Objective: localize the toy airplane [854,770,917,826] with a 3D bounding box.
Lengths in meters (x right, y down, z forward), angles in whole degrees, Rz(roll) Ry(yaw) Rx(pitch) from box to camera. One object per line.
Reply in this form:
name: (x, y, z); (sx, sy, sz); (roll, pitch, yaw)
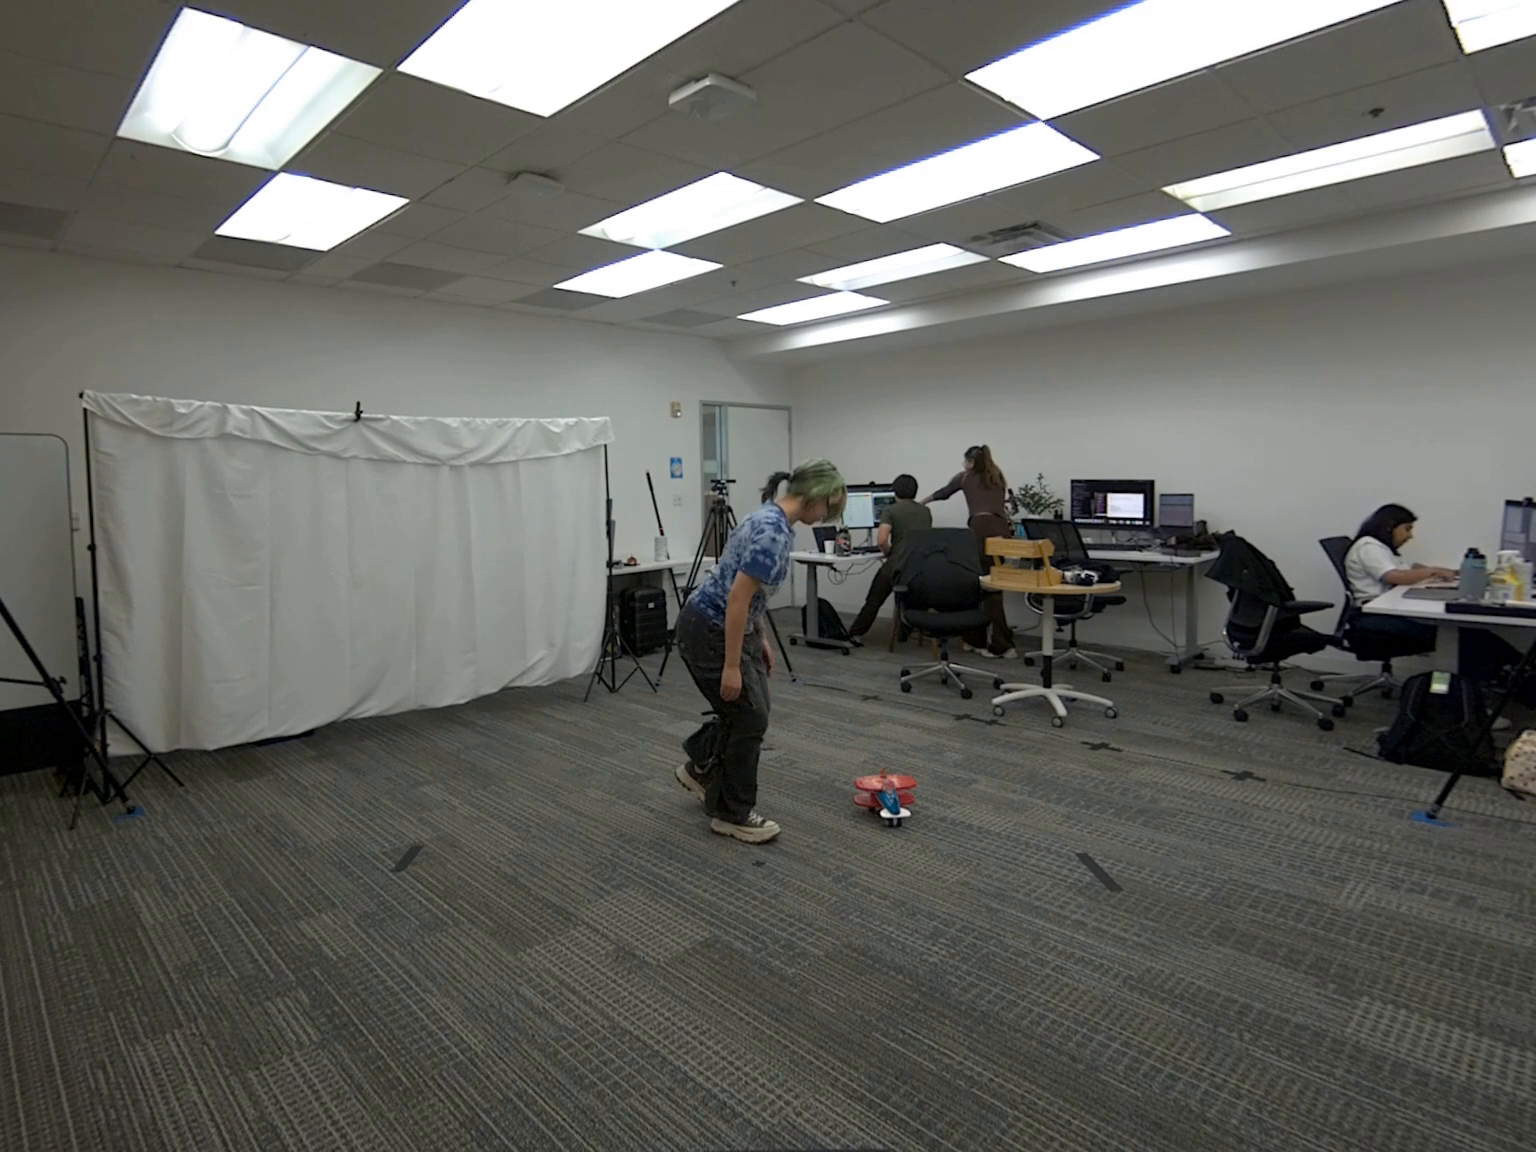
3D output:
toy airplane: (0.516, 0.921, 3.492); (0.245, 0.156, 0.267); (-4, 6, -34)
